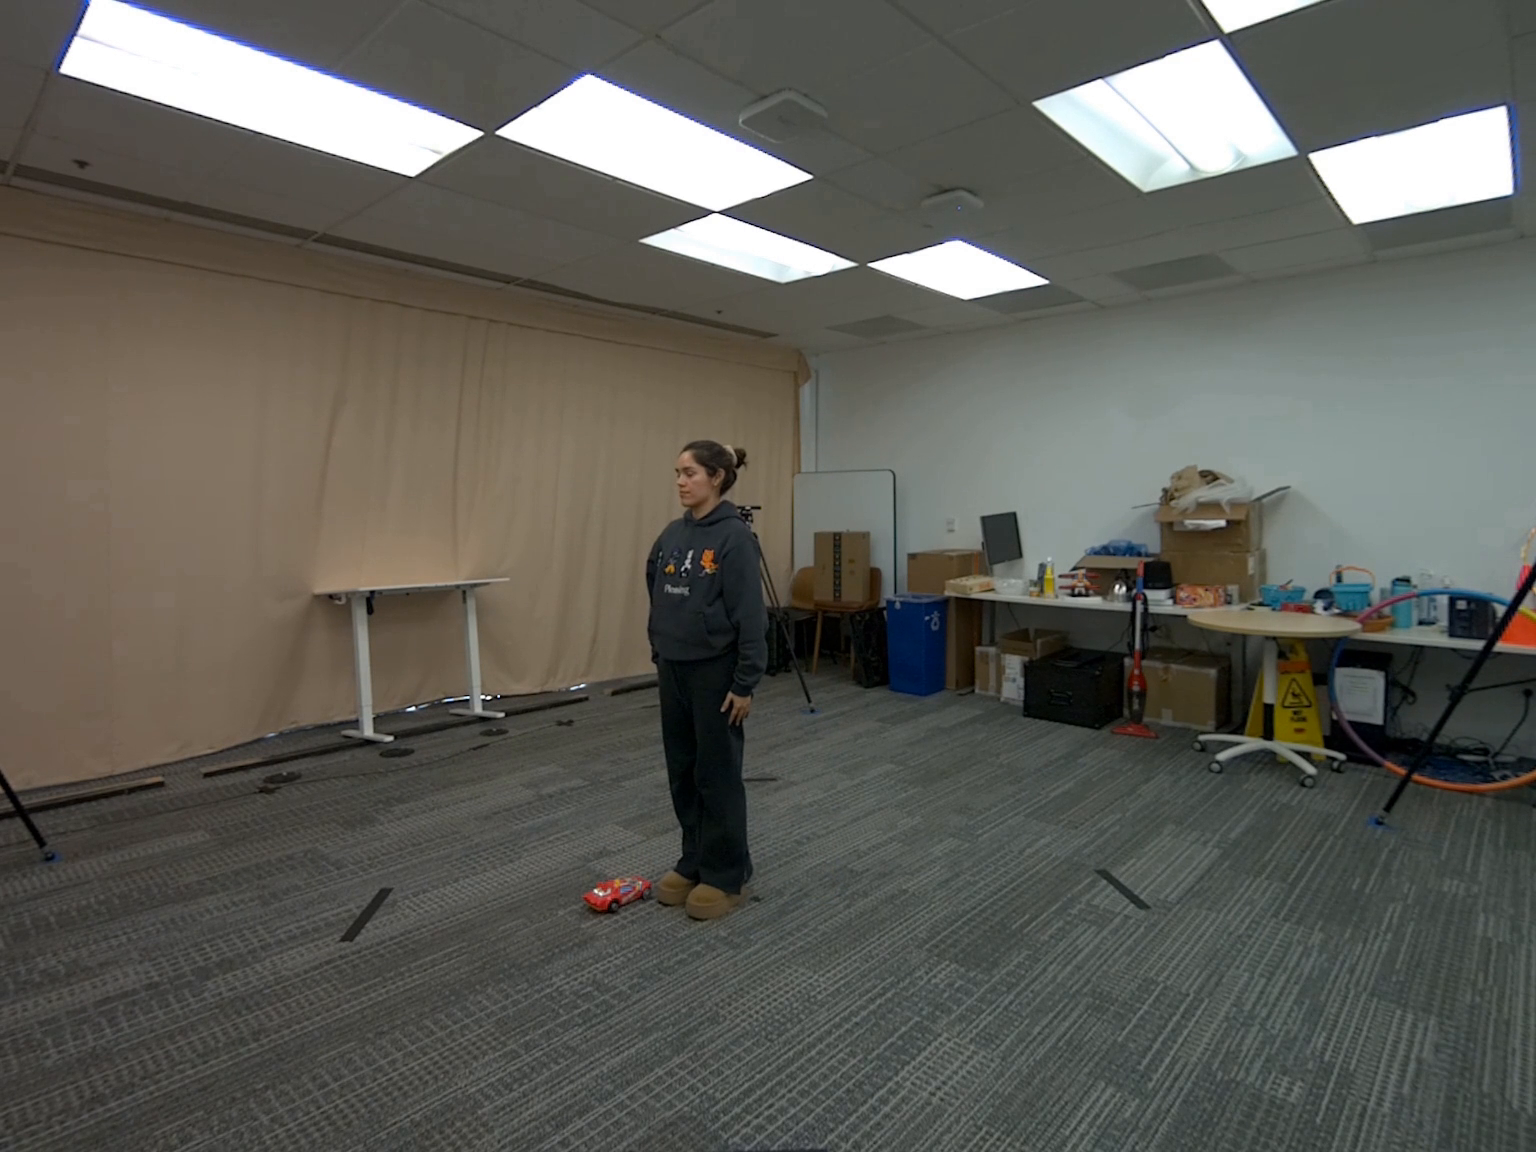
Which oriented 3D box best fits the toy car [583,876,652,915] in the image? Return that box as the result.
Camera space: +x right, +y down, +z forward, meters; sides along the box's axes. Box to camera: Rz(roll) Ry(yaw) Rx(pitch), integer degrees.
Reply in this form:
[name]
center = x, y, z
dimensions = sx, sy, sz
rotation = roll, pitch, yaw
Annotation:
[toy car]
center = -0.516, 1.126, 2.959
dimensions = 0.246, 0.083, 0.134
rotation = 10, -6, -43
